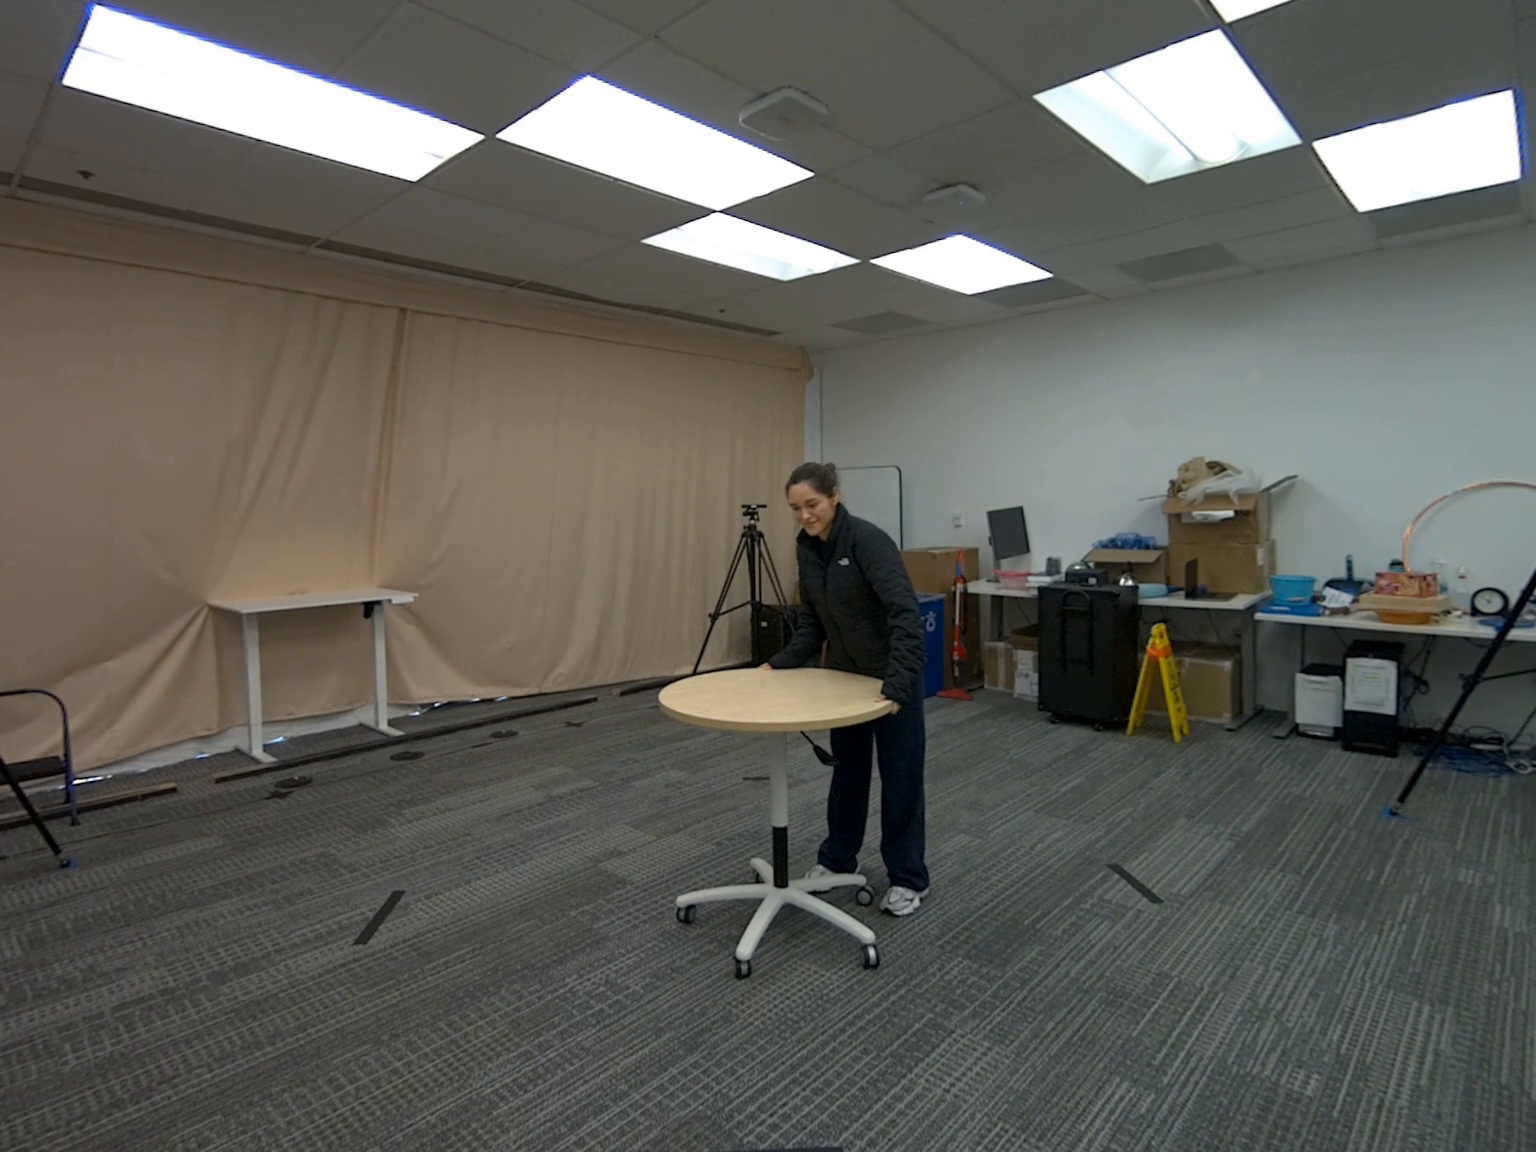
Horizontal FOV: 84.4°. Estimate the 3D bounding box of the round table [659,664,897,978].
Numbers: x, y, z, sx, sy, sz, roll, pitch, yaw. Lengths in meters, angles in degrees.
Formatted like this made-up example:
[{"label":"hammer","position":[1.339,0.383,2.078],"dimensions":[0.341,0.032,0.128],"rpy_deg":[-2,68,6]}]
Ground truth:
[{"label":"round table","position":[0.064,0.765,2.755],"dimensions":[0.784,0.784,0.788],"rpy_deg":[-2,4,-2]}]
